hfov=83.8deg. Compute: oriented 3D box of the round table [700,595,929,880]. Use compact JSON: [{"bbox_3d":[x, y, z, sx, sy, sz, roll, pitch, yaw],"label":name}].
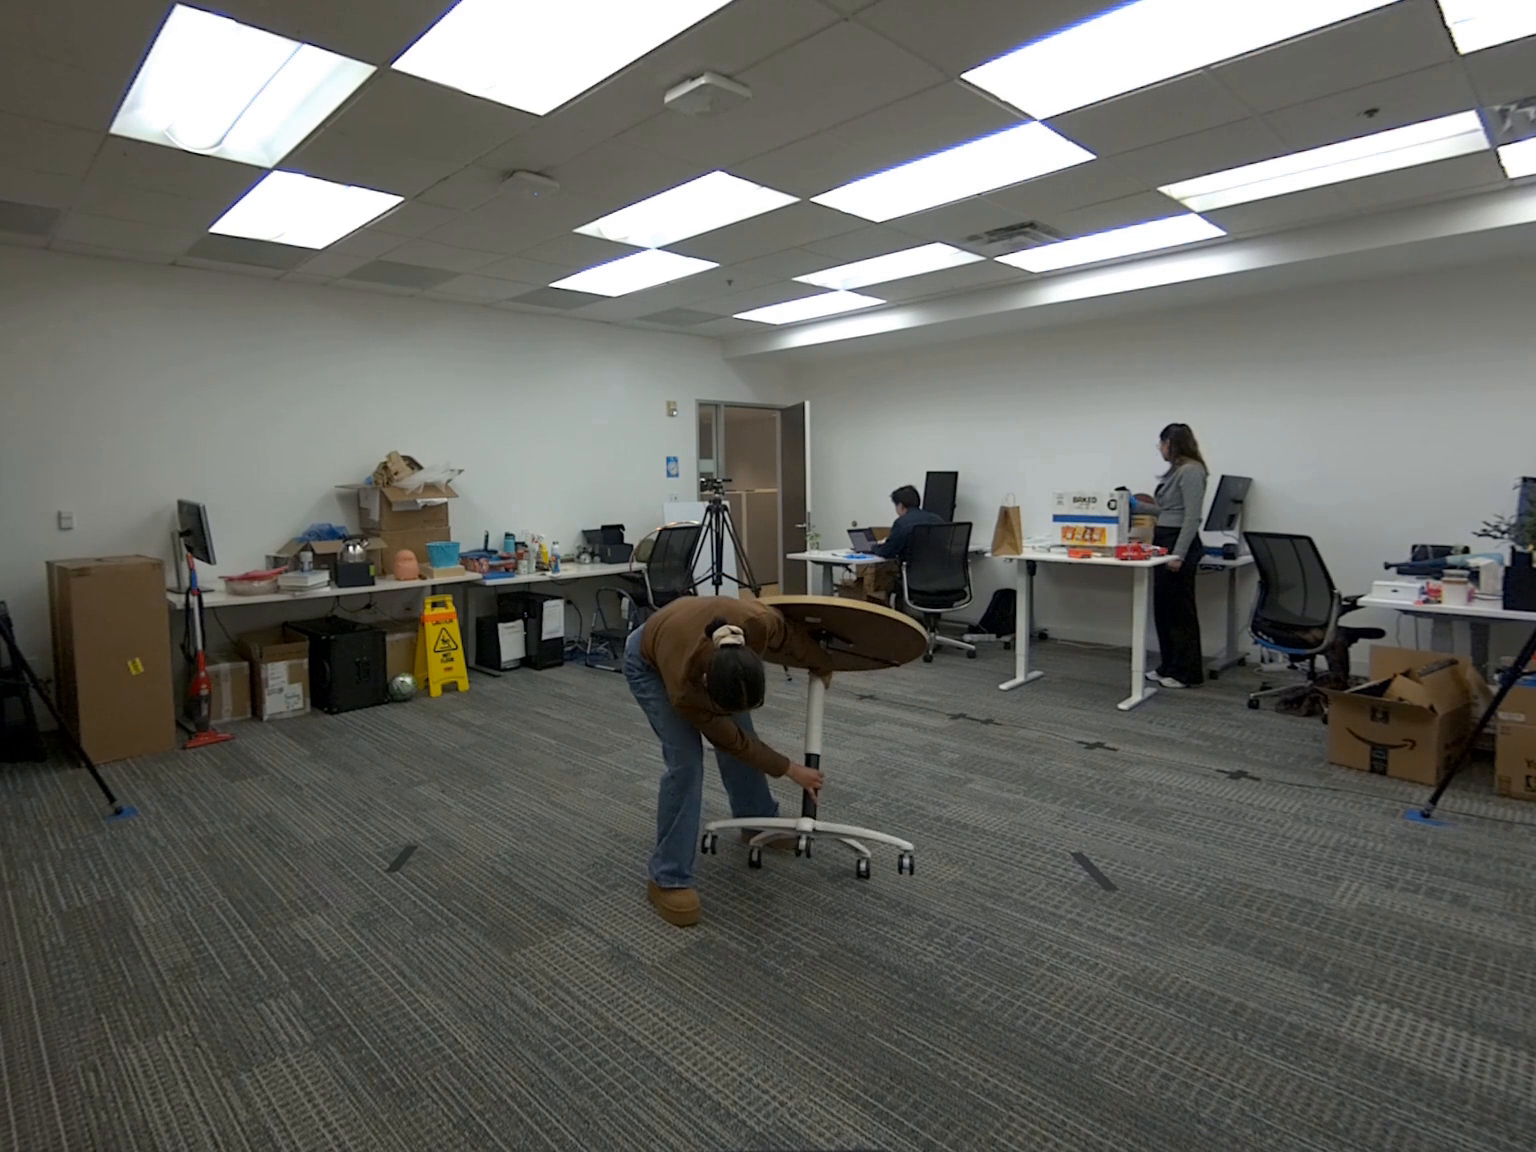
[{"bbox_3d":[0.167,0.582,2.943,0.766,0.808,0.749,6,-23,1],"label":"round table"}]
